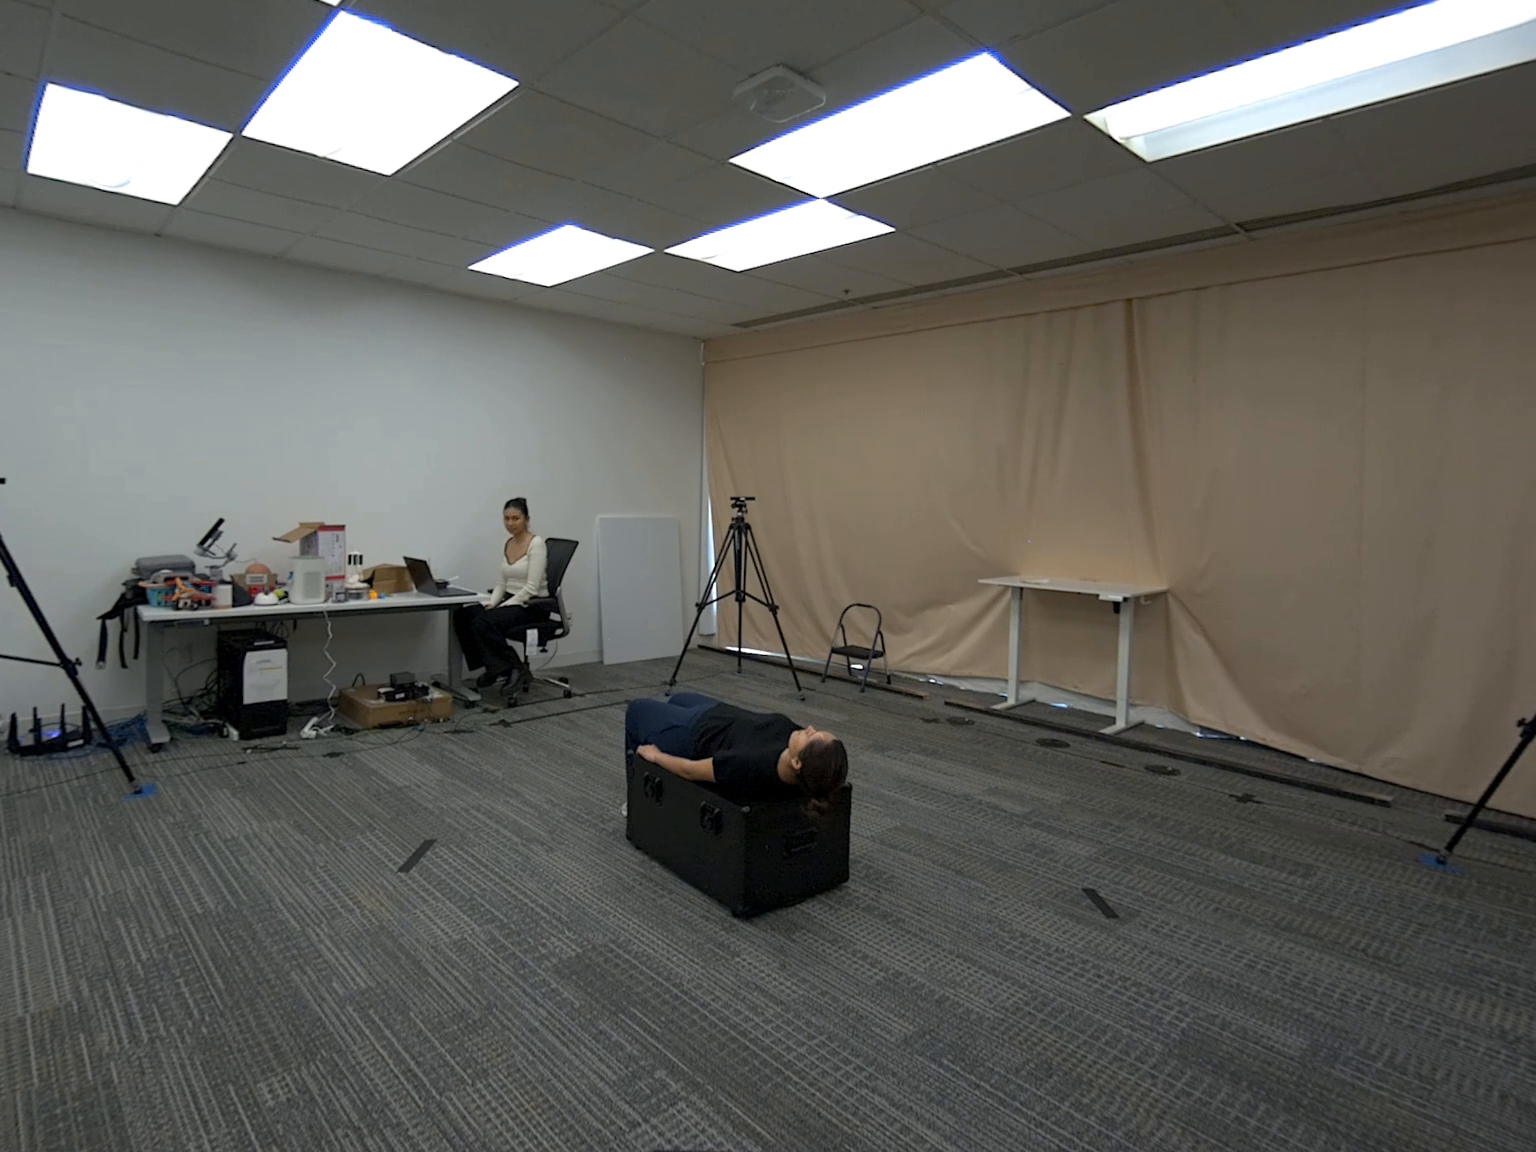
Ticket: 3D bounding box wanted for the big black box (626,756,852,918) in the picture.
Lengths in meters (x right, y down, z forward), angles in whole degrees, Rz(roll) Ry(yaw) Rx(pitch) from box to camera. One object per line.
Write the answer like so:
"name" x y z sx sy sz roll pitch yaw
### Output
"big black box" -0.121 0.923 3.148 0.510 0.395 0.882 -2 4 -38
